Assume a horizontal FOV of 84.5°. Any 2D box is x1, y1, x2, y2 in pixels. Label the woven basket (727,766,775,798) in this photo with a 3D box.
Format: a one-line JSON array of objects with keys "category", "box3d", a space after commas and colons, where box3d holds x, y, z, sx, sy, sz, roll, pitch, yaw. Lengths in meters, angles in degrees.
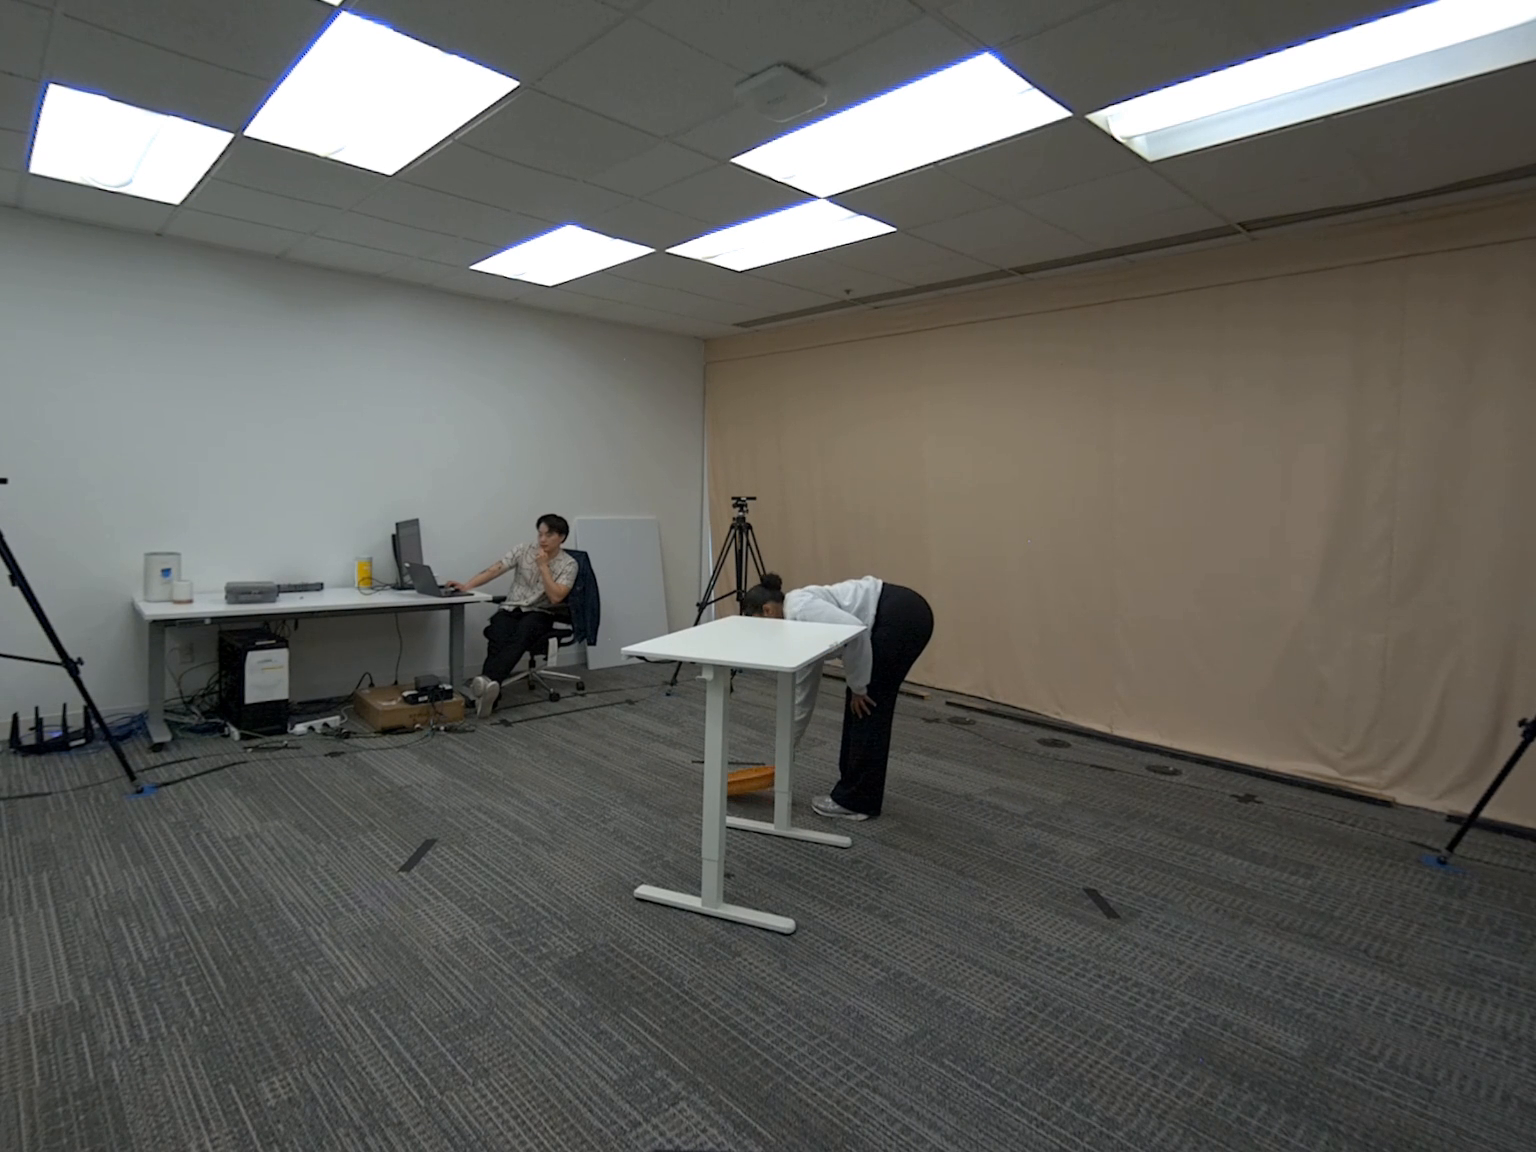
[{"category": "woven basket", "box3d": [-0.089, 0.924, 3.901, 0.353, 0.074, 0.249, -10, -3, 11]}]
